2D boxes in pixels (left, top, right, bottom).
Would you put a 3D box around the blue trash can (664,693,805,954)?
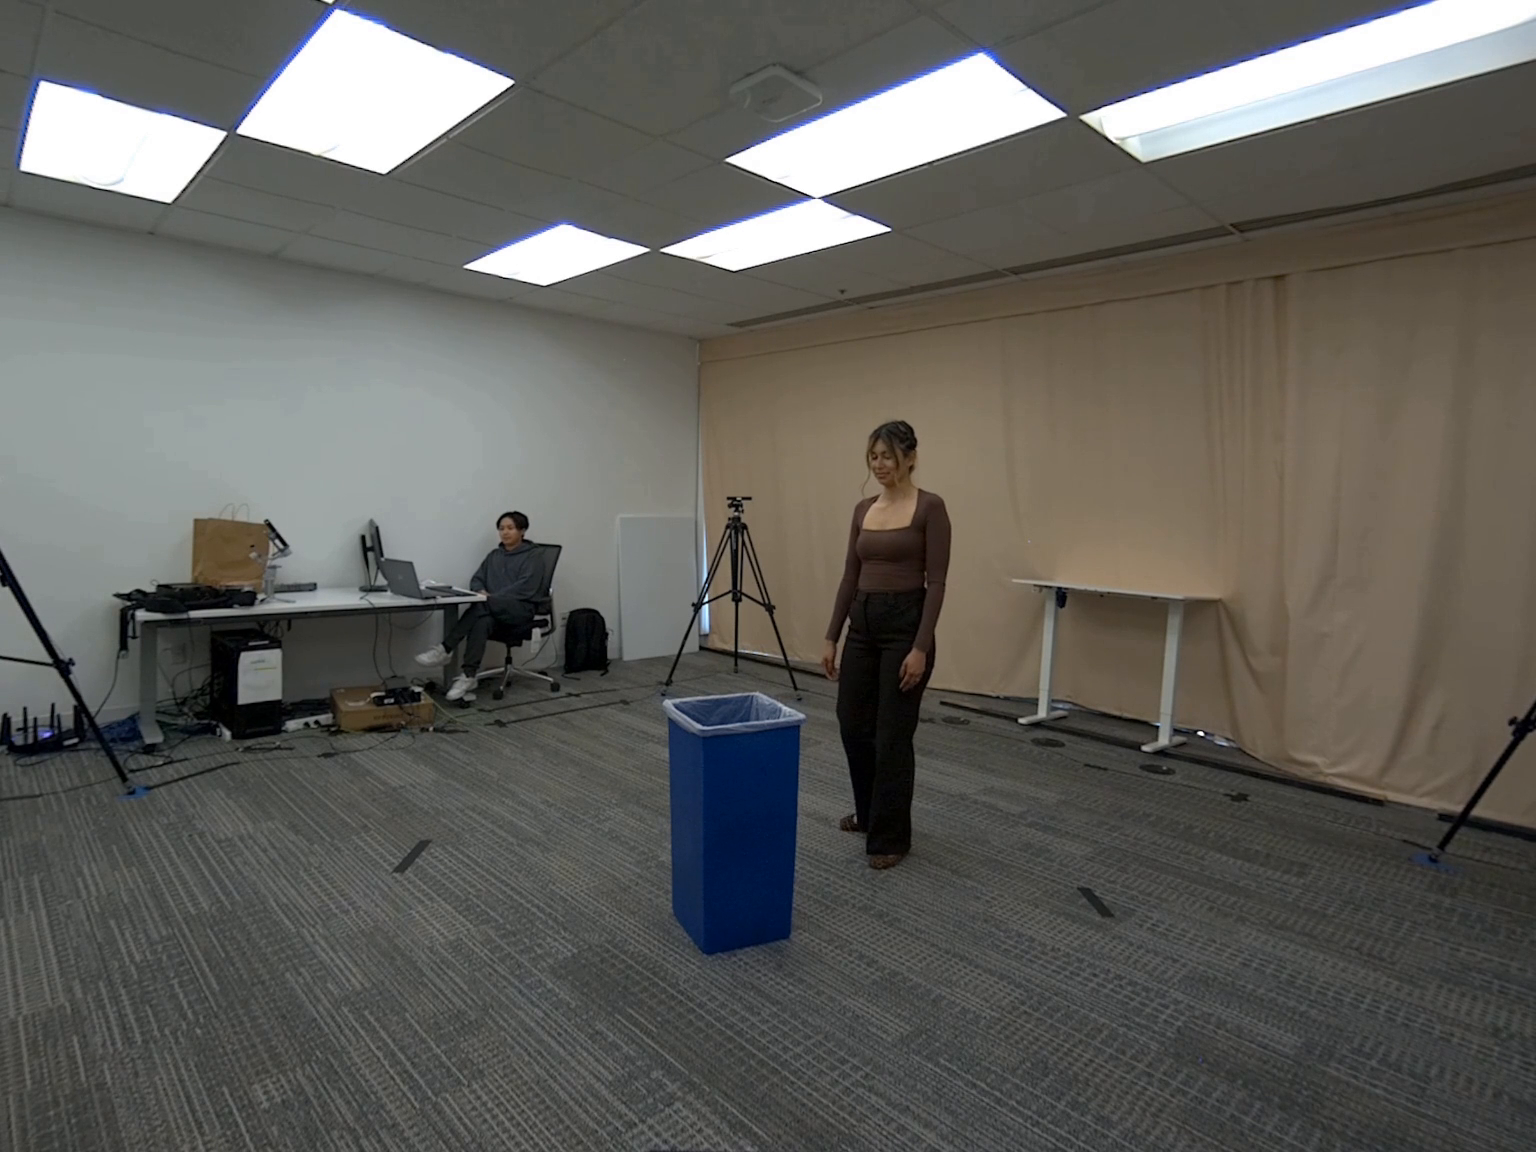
[{"bbox_3d":[-0.127,0.783,2.724,0.367,0.712,0.386,0,3,-26],"label":"blue trash can"}]
